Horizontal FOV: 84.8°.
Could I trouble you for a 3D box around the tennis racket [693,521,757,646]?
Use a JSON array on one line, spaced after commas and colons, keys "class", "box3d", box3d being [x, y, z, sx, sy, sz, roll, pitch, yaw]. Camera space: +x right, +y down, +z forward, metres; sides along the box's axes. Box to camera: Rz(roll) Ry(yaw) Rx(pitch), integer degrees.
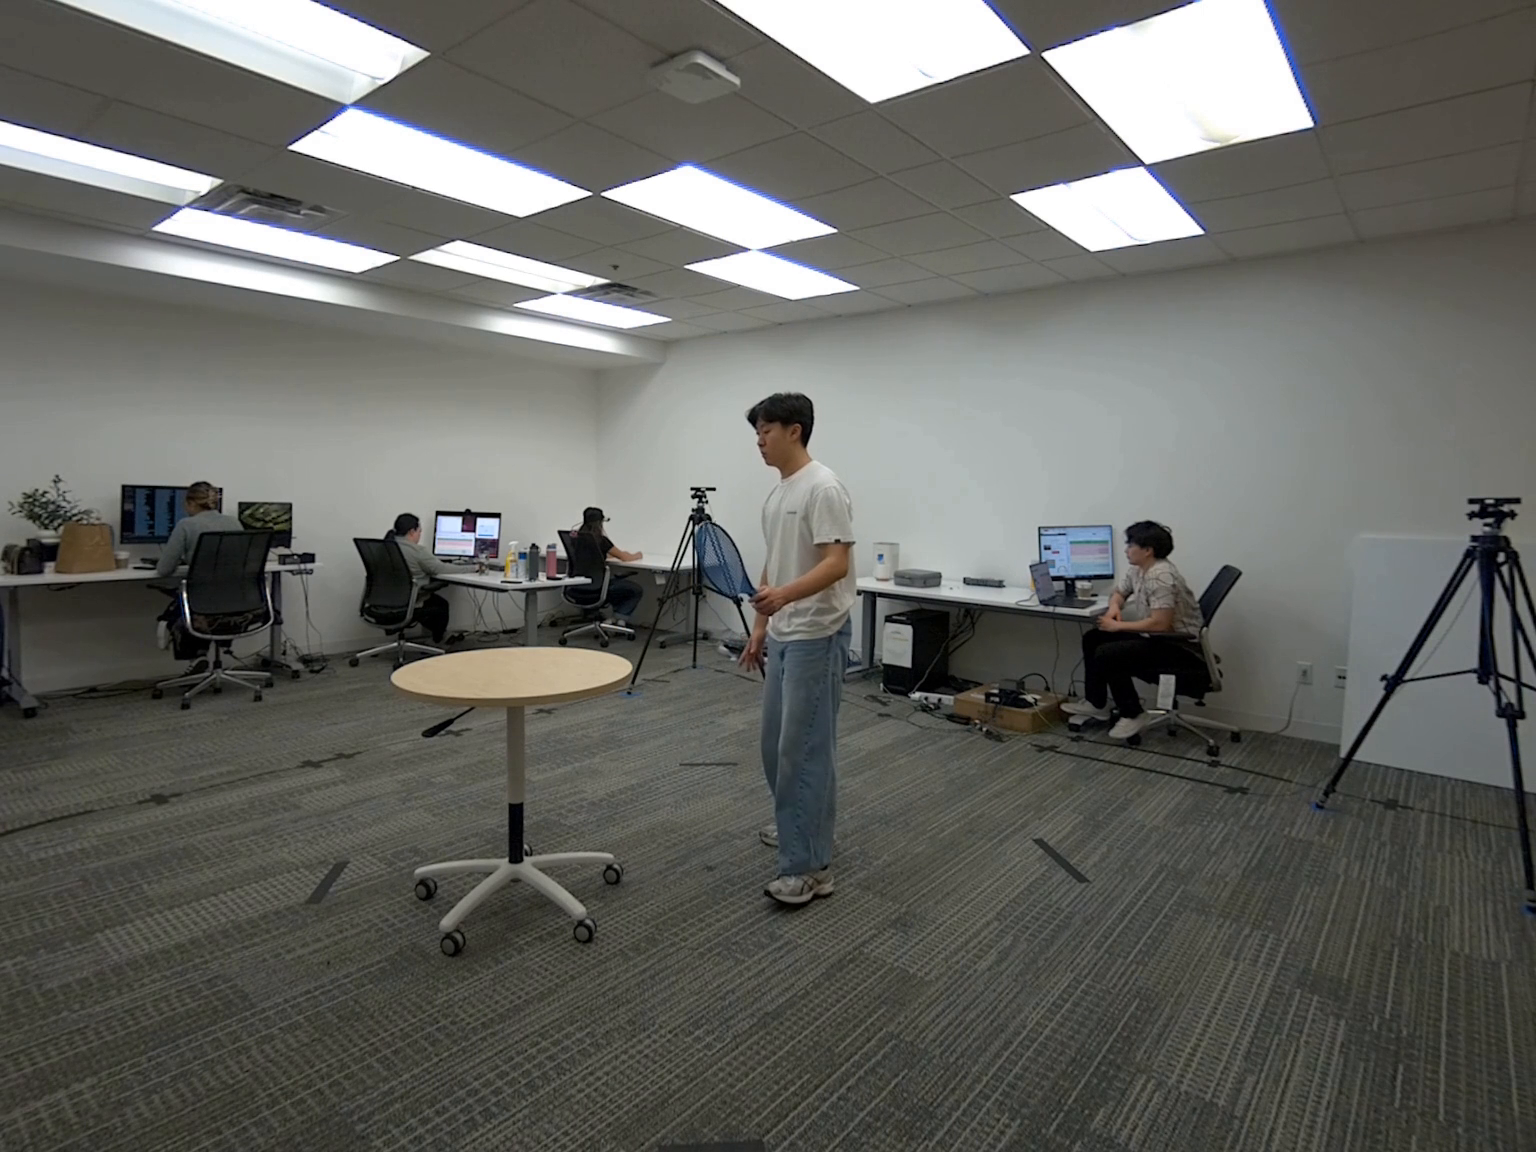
[{"class": "tennis racket", "box3d": [-0.124, -0.004, 2.672, 0.032, 0.218, 0.415, -15, -40, 28]}]
